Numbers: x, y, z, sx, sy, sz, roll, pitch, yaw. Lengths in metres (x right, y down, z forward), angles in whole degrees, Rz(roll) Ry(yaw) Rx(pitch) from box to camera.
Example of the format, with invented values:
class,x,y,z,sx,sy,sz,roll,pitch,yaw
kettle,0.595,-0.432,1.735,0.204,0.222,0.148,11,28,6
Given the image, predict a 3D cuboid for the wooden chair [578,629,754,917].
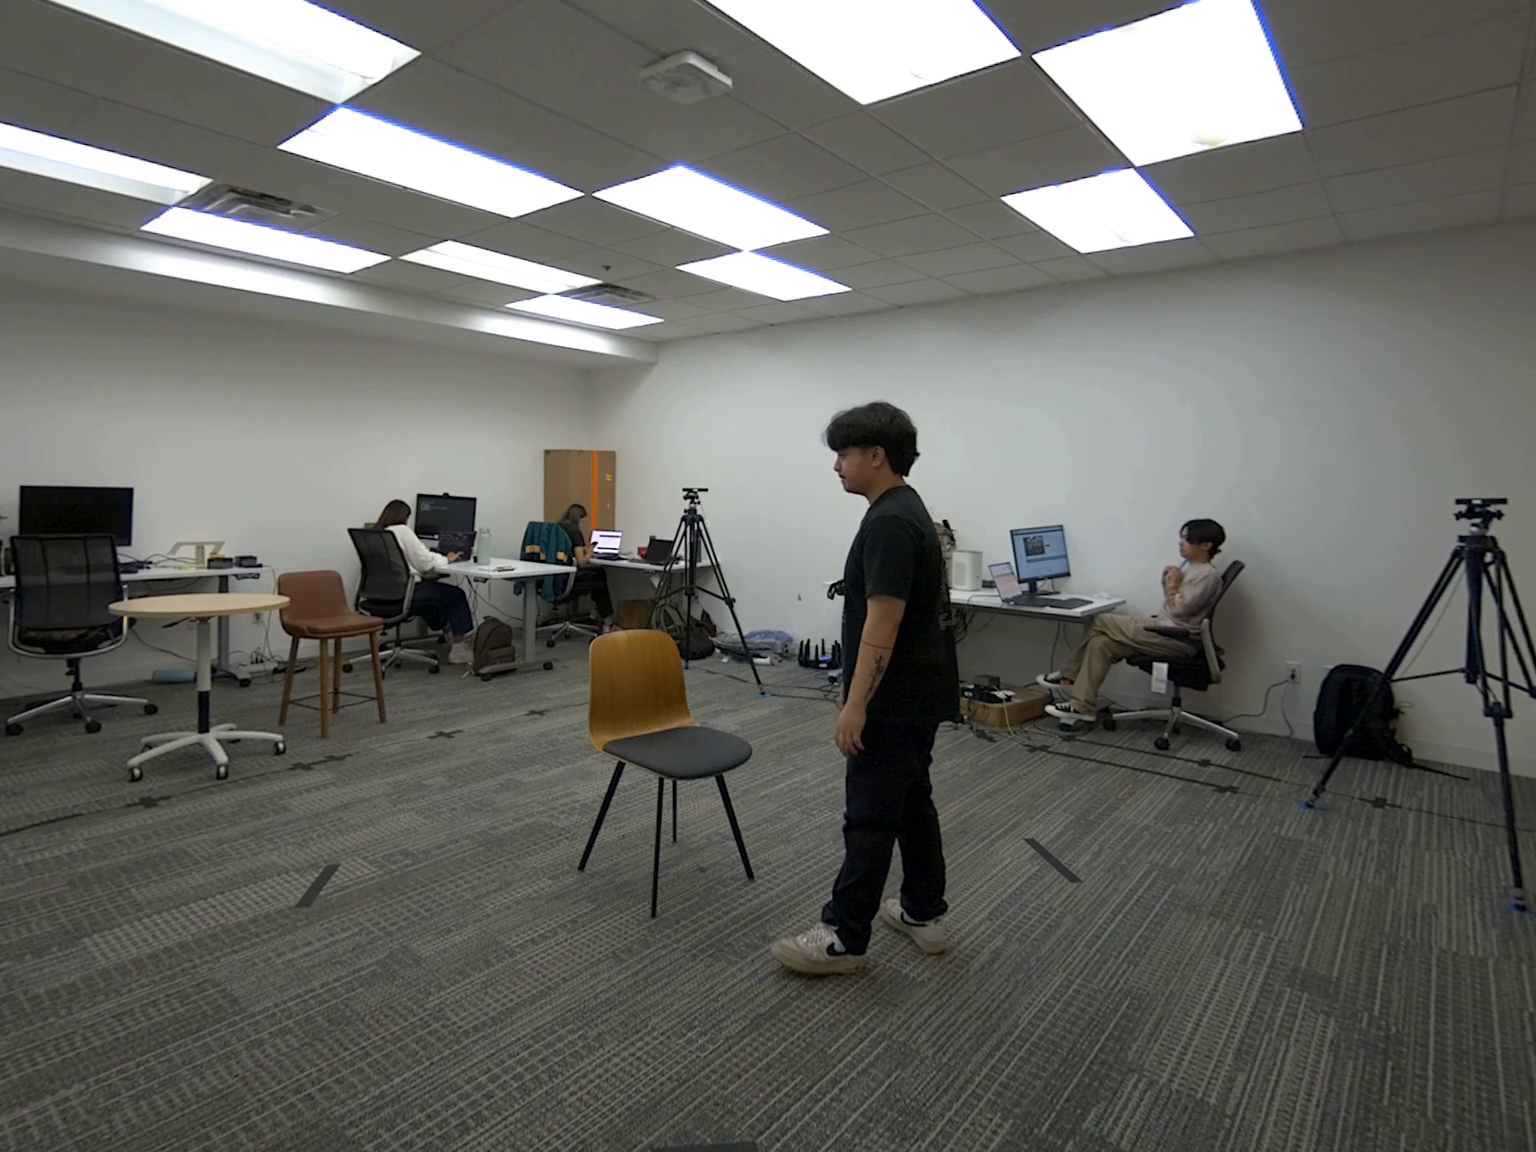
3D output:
class,x,y,z,sx,sy,sz,roll,pitch,yaw
wooden chair,-0.363,0.648,3.025,0.463,0.878,0.539,-2,0,-43
